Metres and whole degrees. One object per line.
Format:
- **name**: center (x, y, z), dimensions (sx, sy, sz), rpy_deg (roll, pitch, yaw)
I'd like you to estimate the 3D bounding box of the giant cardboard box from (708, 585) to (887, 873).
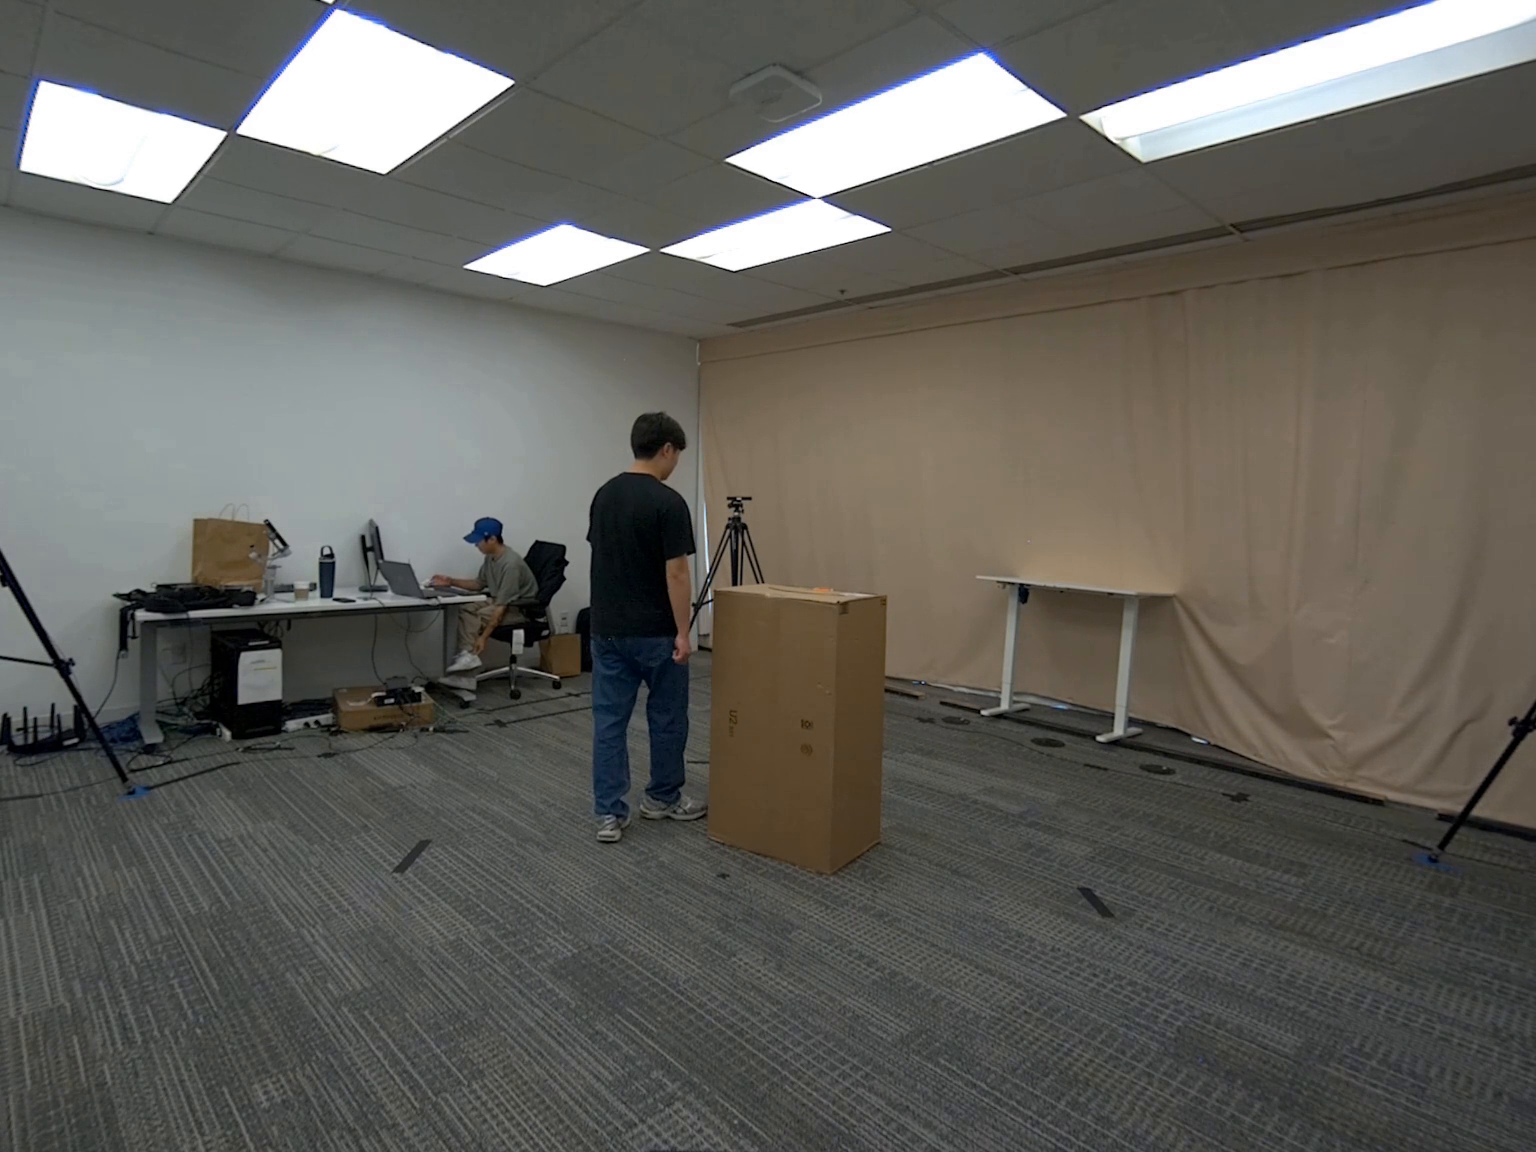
- **giant cardboard box**: center (0.121, 0.575, 3.431), dimensions (0.598, 1.025, 0.437), rpy_deg (4, 3, 36)
